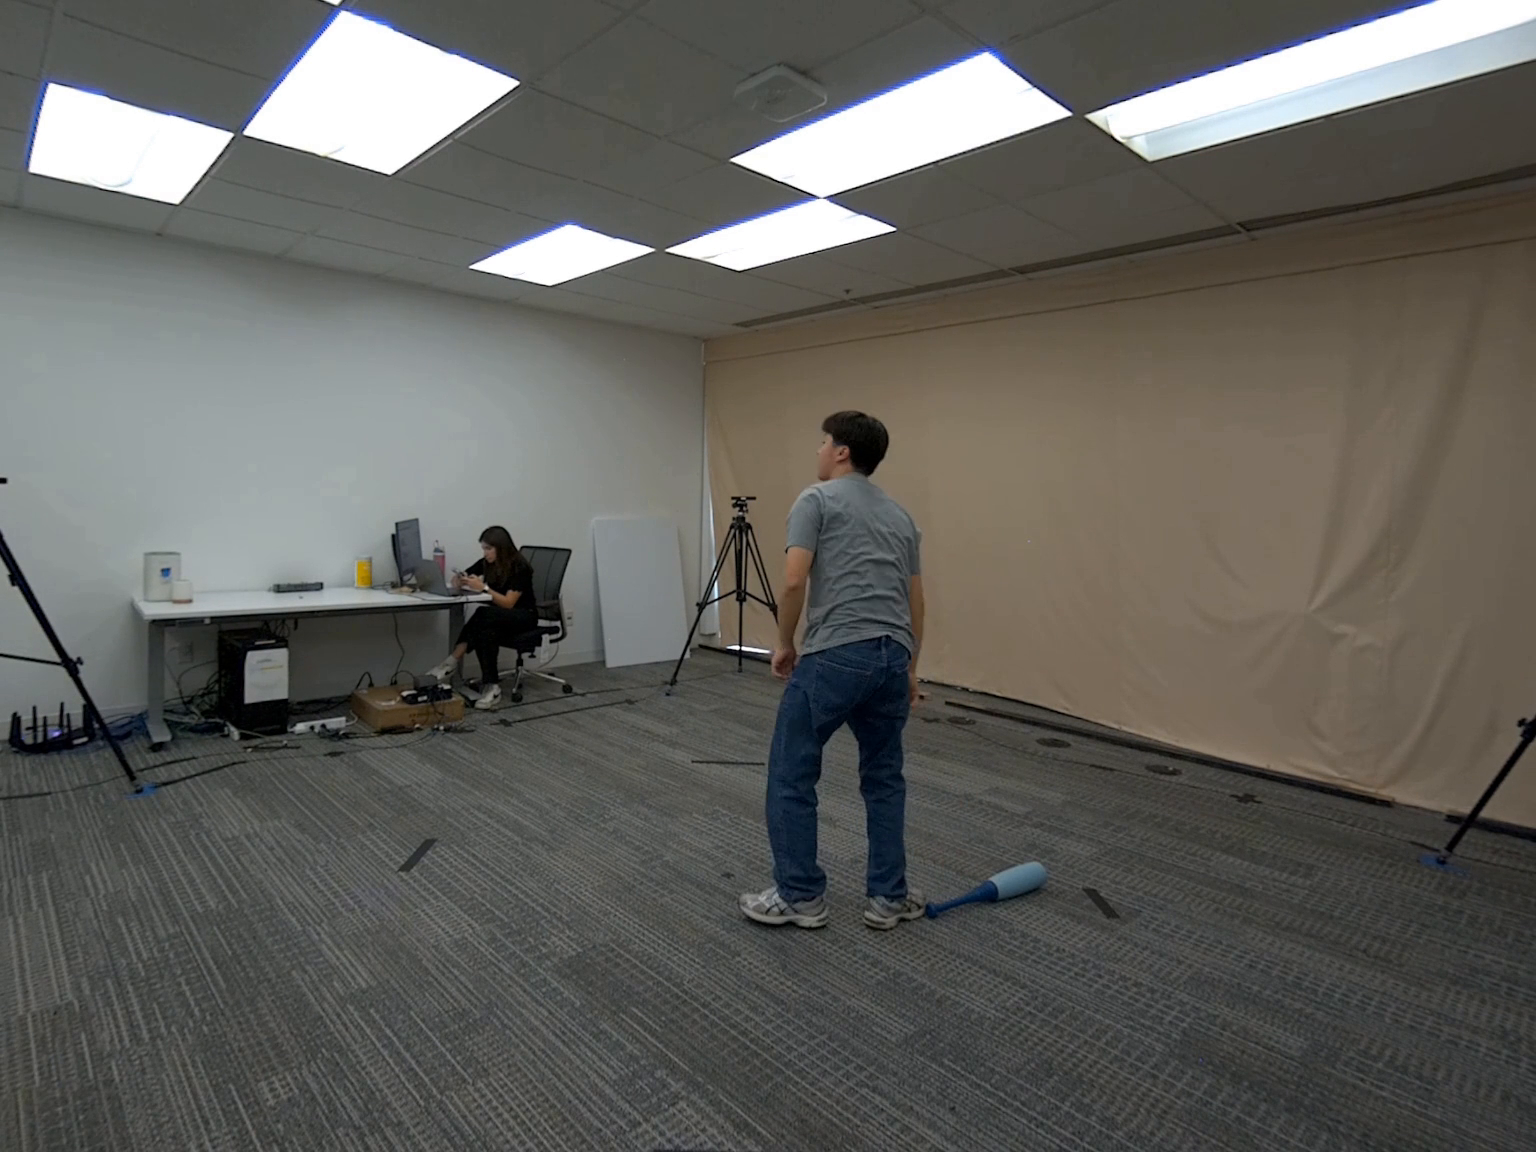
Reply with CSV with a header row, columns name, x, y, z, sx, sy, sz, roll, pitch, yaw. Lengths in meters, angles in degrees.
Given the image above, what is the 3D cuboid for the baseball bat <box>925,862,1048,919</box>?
name,x,y,z,sx,sy,sz,roll,pitch,yaw
baseball bat,0.765,1.112,2.944,0.533,0.088,0.091,-6,7,-31
